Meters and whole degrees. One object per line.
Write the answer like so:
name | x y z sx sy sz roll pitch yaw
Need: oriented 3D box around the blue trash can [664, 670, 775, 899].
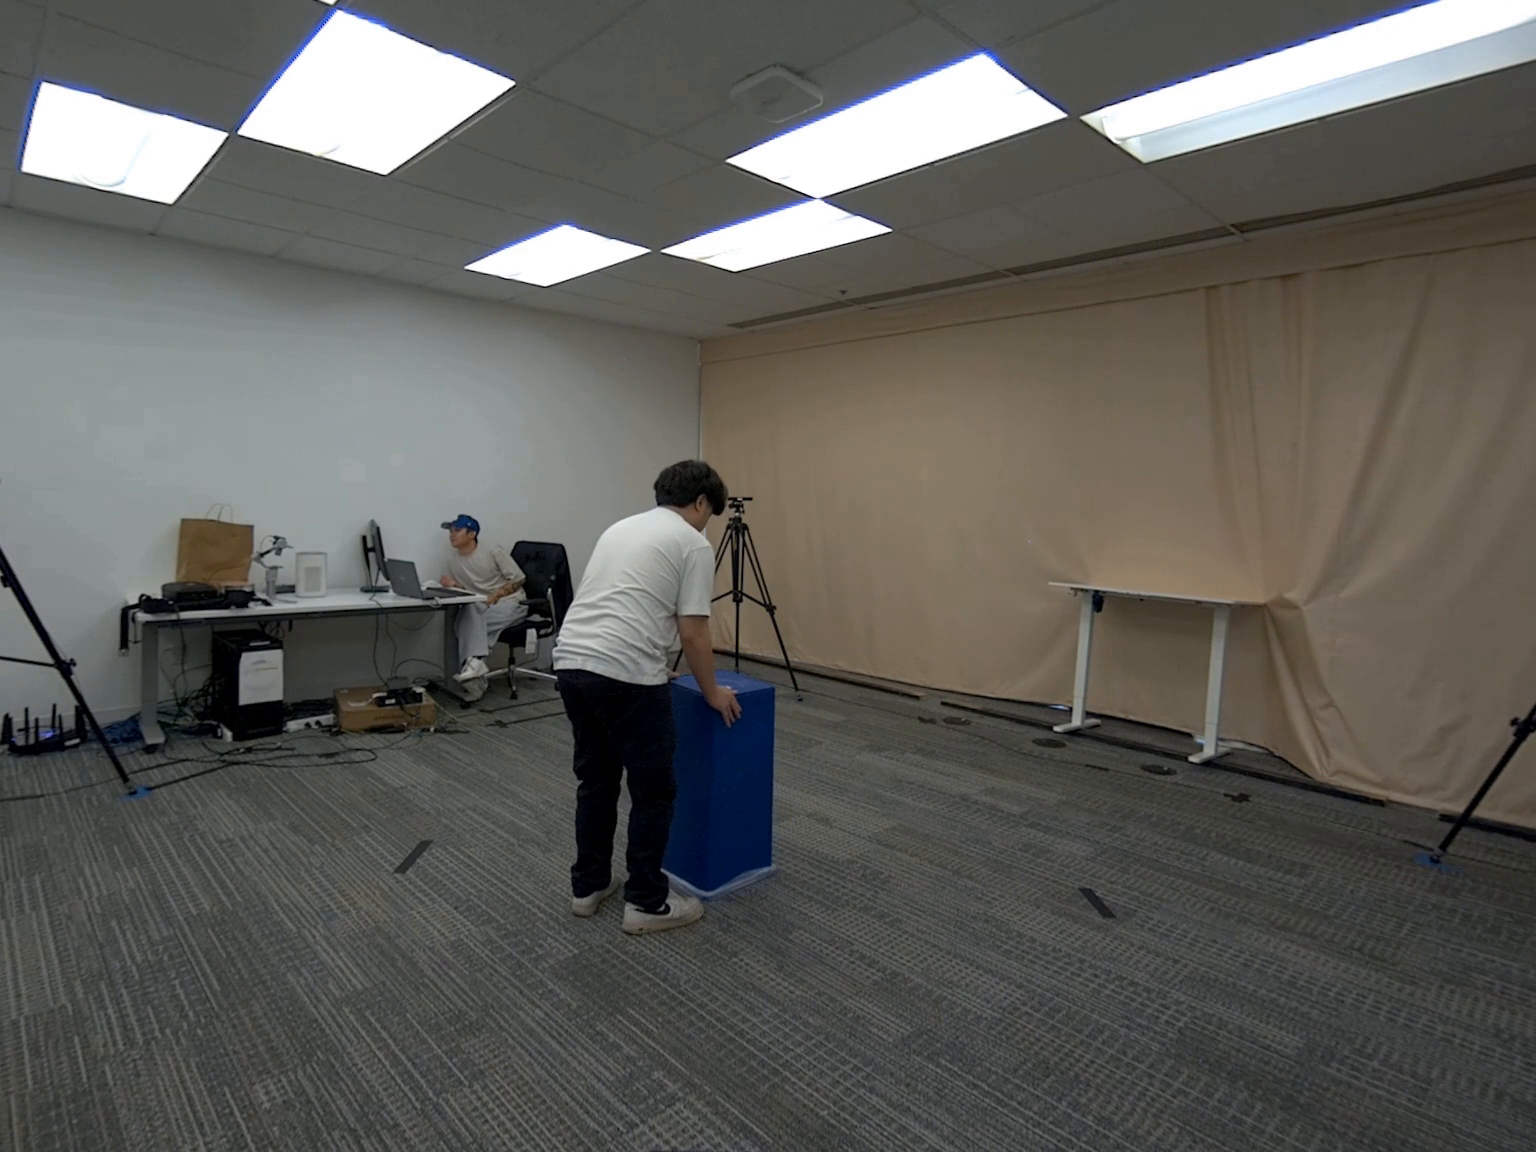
blue trash can | -0.200 0.746 3.118 0.369 0.711 0.384 -2 8 -45
